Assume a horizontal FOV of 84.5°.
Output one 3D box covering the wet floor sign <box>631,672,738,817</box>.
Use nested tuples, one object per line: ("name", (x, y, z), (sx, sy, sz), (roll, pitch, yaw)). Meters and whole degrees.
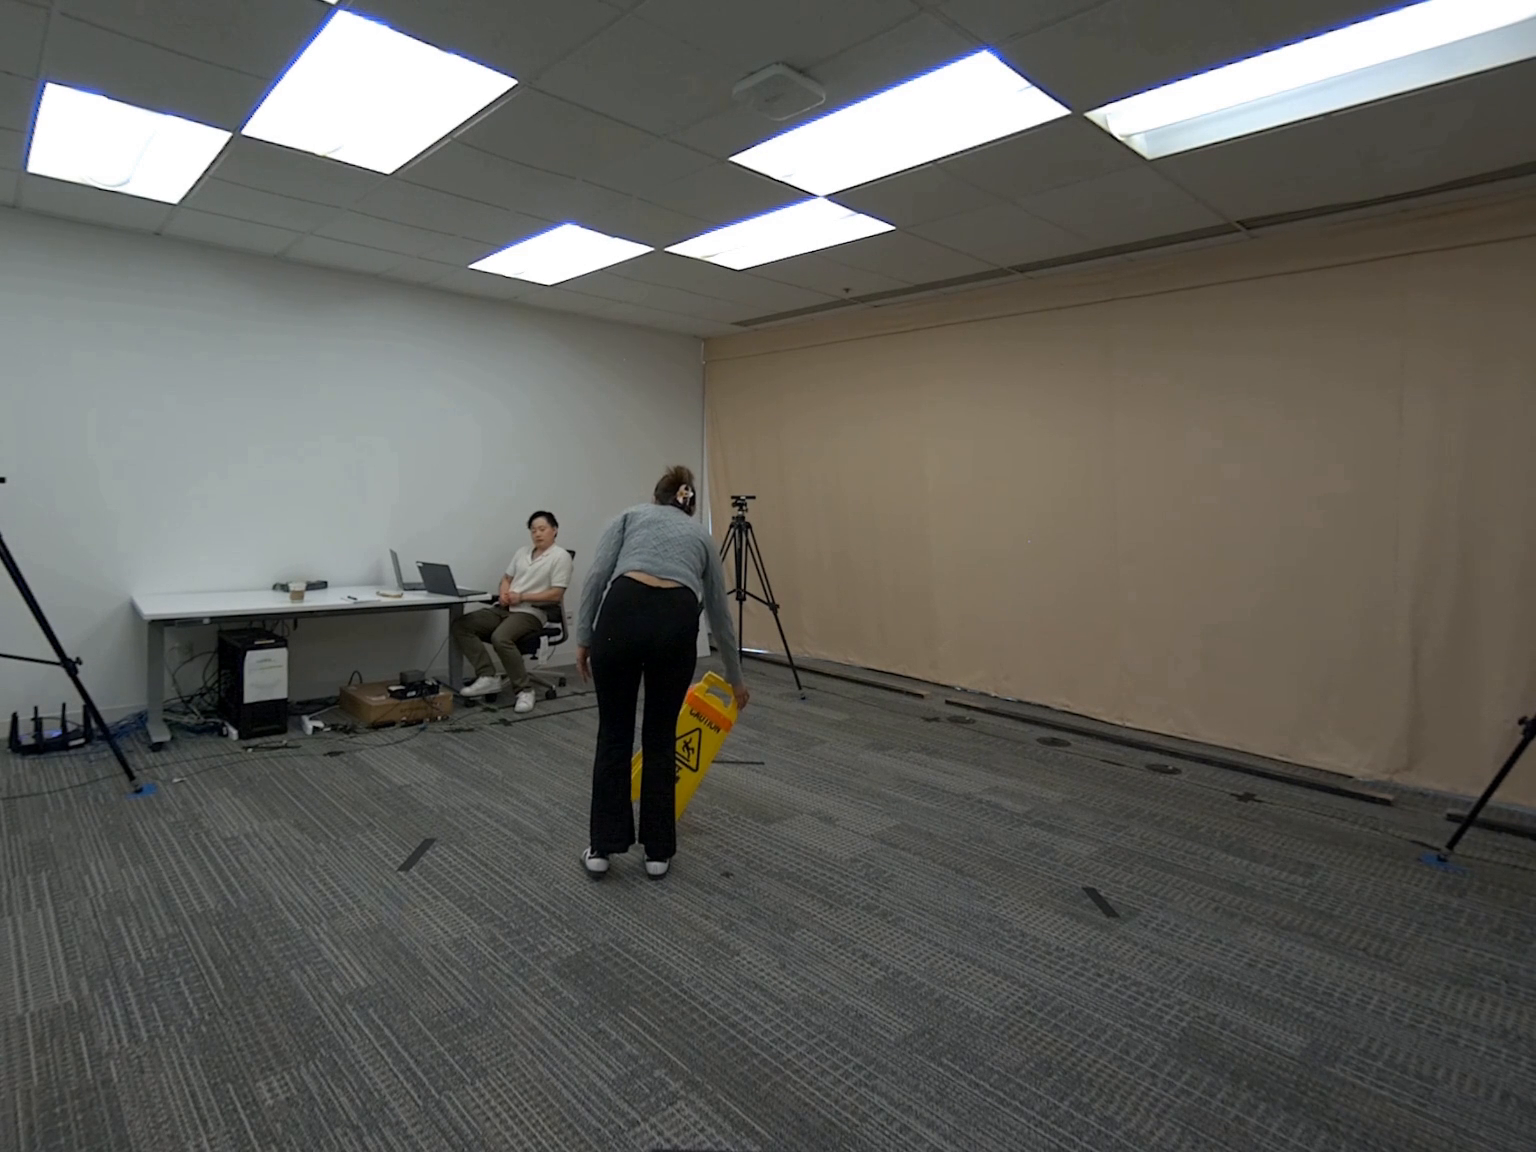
("wet floor sign", (-0.359, 0.718, 3.563), (0.281, 0.646, 0.290), (35, 1, -3))
